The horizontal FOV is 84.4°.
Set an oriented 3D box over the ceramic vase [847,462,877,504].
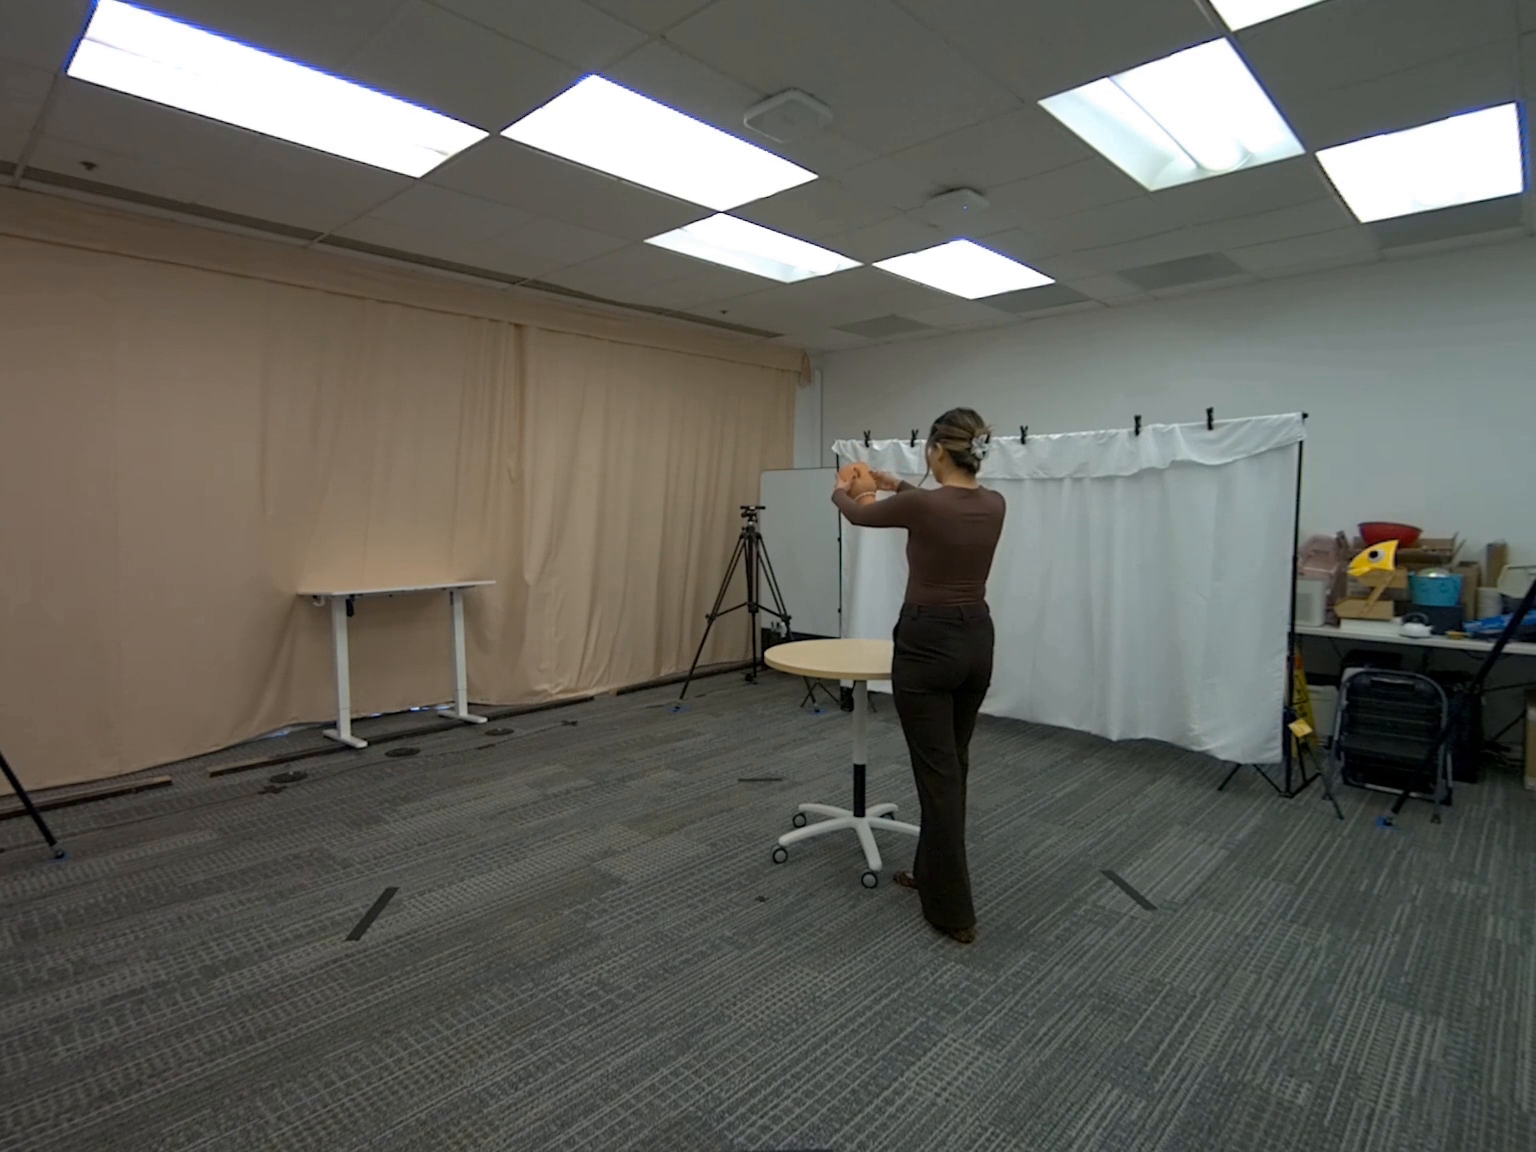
[{"bbox_3d":[0.376,-0.325,3.331,0.136,0.224,0.153,-35,-27,30],"label":"ceramic vase"}]
